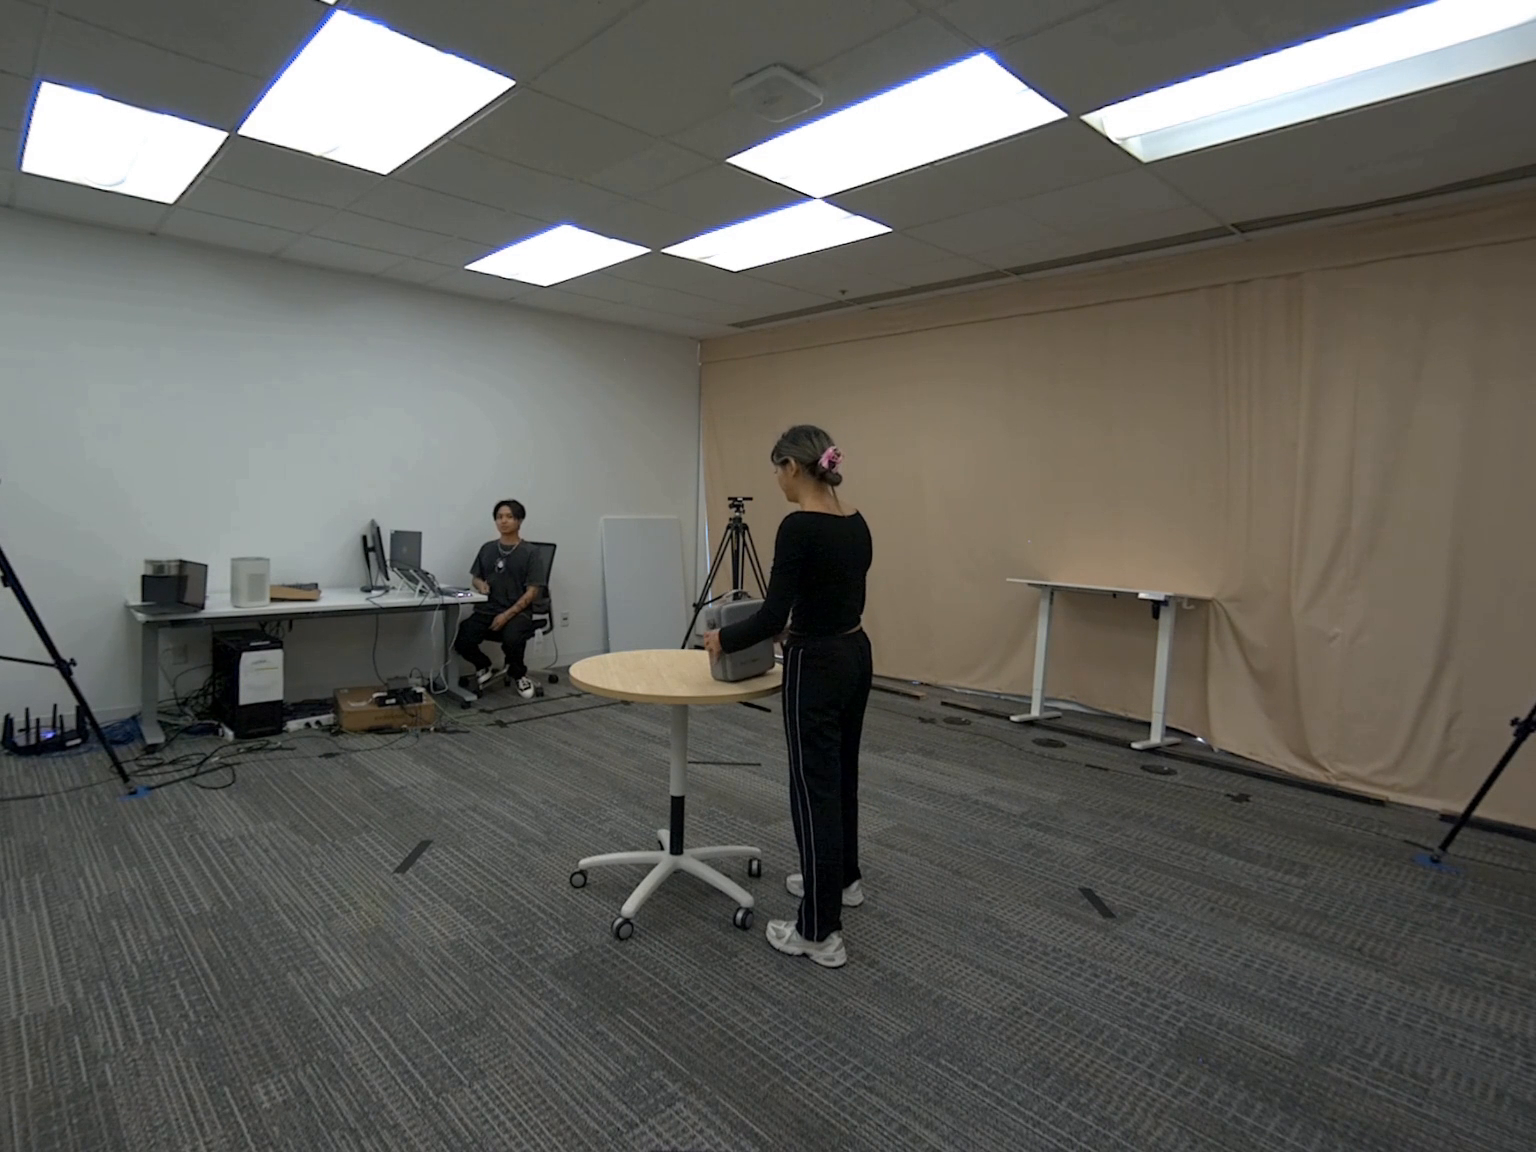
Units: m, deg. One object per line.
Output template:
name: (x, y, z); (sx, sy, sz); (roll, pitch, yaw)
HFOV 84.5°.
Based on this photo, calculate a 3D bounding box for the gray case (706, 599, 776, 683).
gray case: (-0.097, 0.207, 2.842); (0.106, 0.261, 0.251); (-6, 0, 37)
